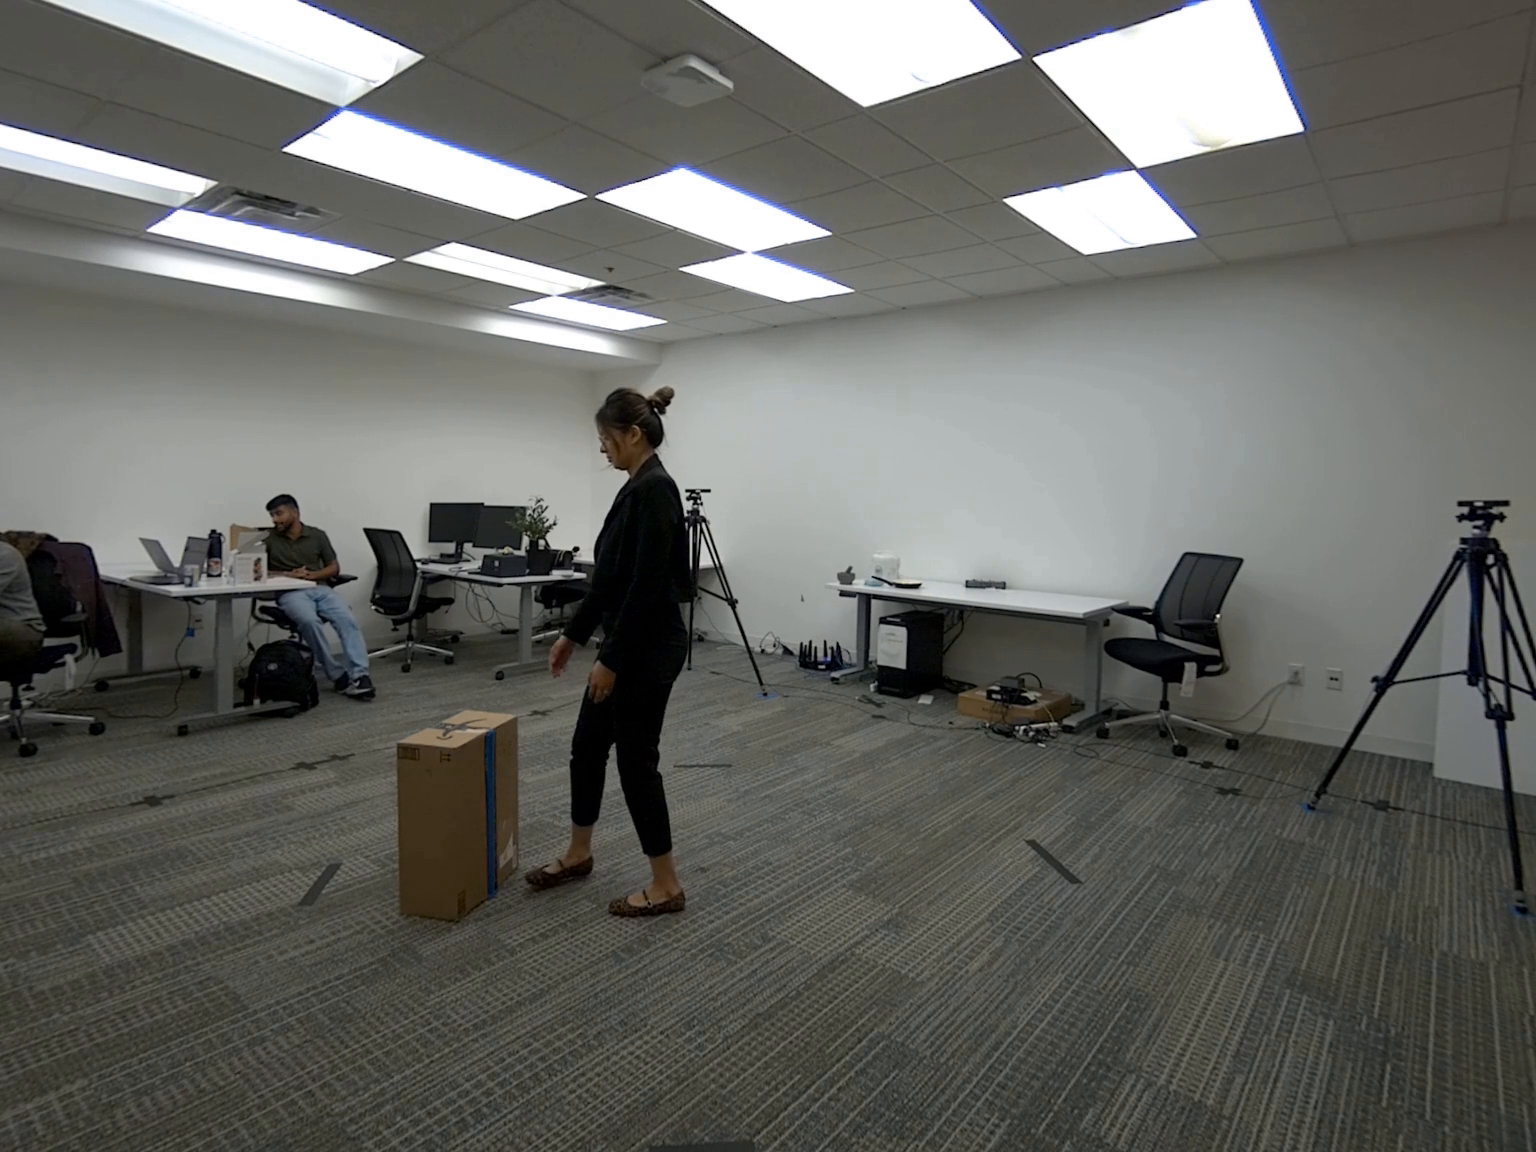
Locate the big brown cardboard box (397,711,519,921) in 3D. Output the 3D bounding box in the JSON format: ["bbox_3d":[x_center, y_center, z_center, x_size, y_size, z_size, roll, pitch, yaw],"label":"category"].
[{"bbox_3d":[-1.060,0.801,2.907,0.236,0.587,0.413,1,5,12],"label":"big brown cardboard box"}]
